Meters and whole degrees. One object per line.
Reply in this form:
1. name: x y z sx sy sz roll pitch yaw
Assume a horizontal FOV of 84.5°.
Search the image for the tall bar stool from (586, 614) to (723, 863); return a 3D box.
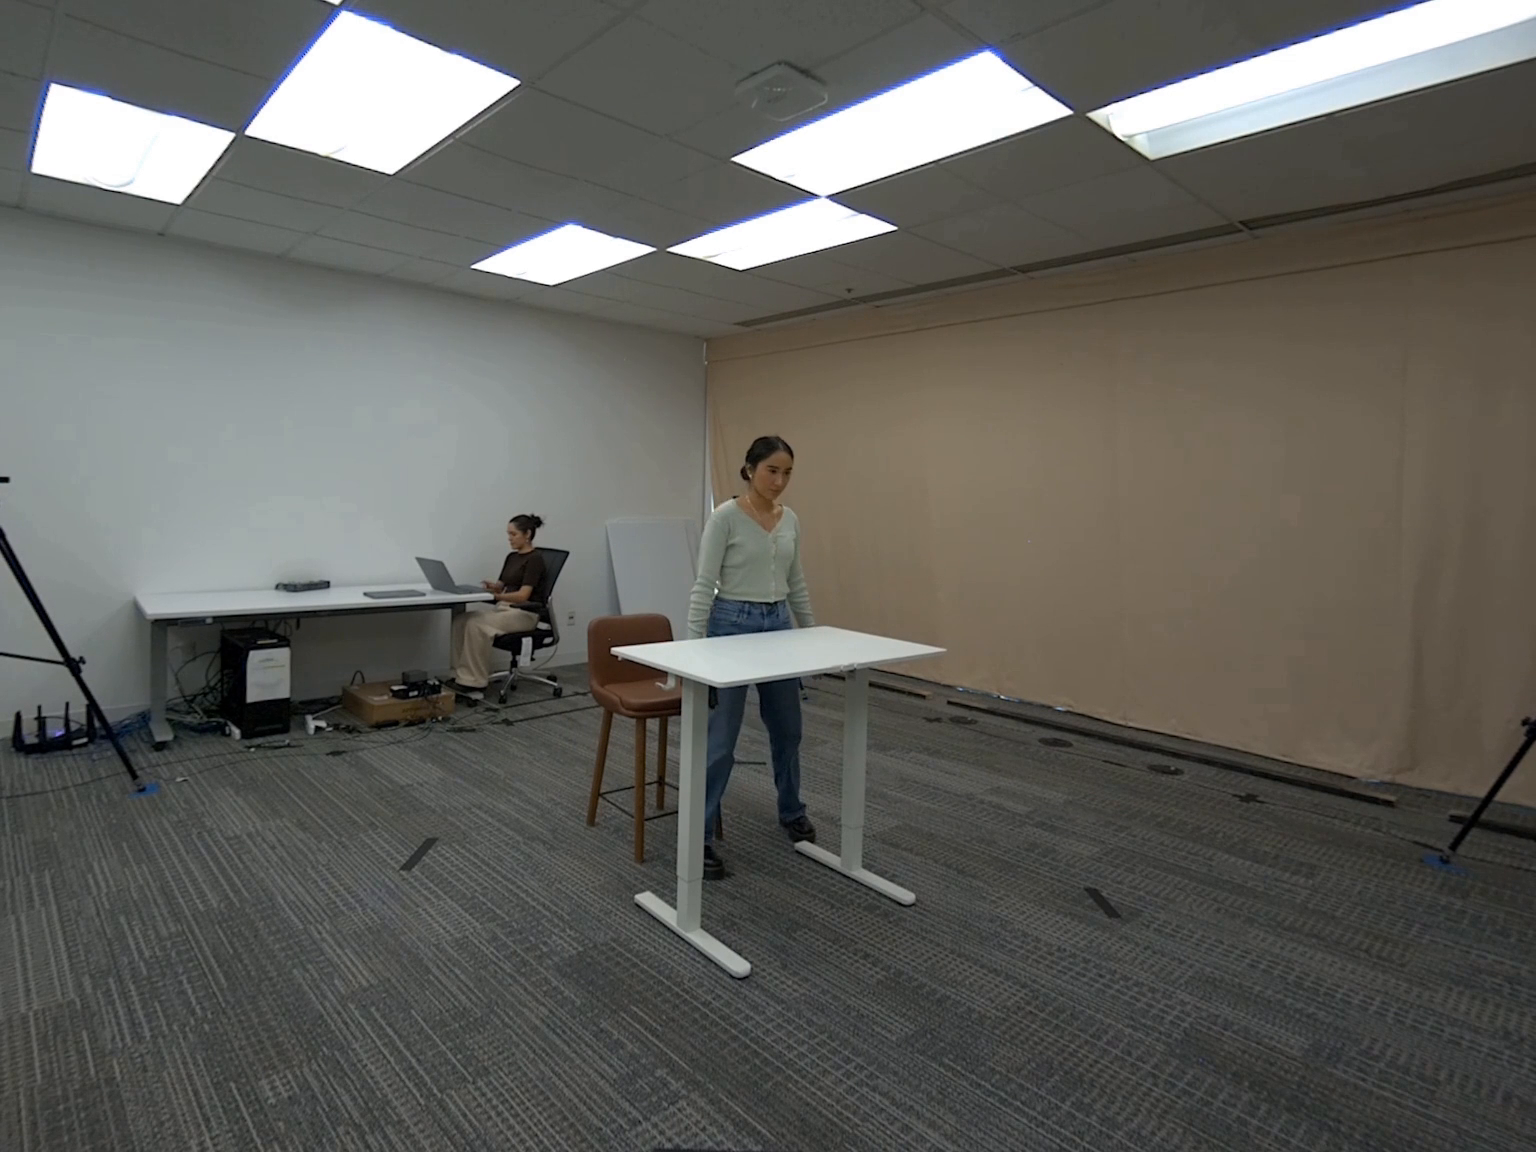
1. tall bar stool: -0.478 0.624 3.462 0.446 0.889 0.479 0 2 -38
